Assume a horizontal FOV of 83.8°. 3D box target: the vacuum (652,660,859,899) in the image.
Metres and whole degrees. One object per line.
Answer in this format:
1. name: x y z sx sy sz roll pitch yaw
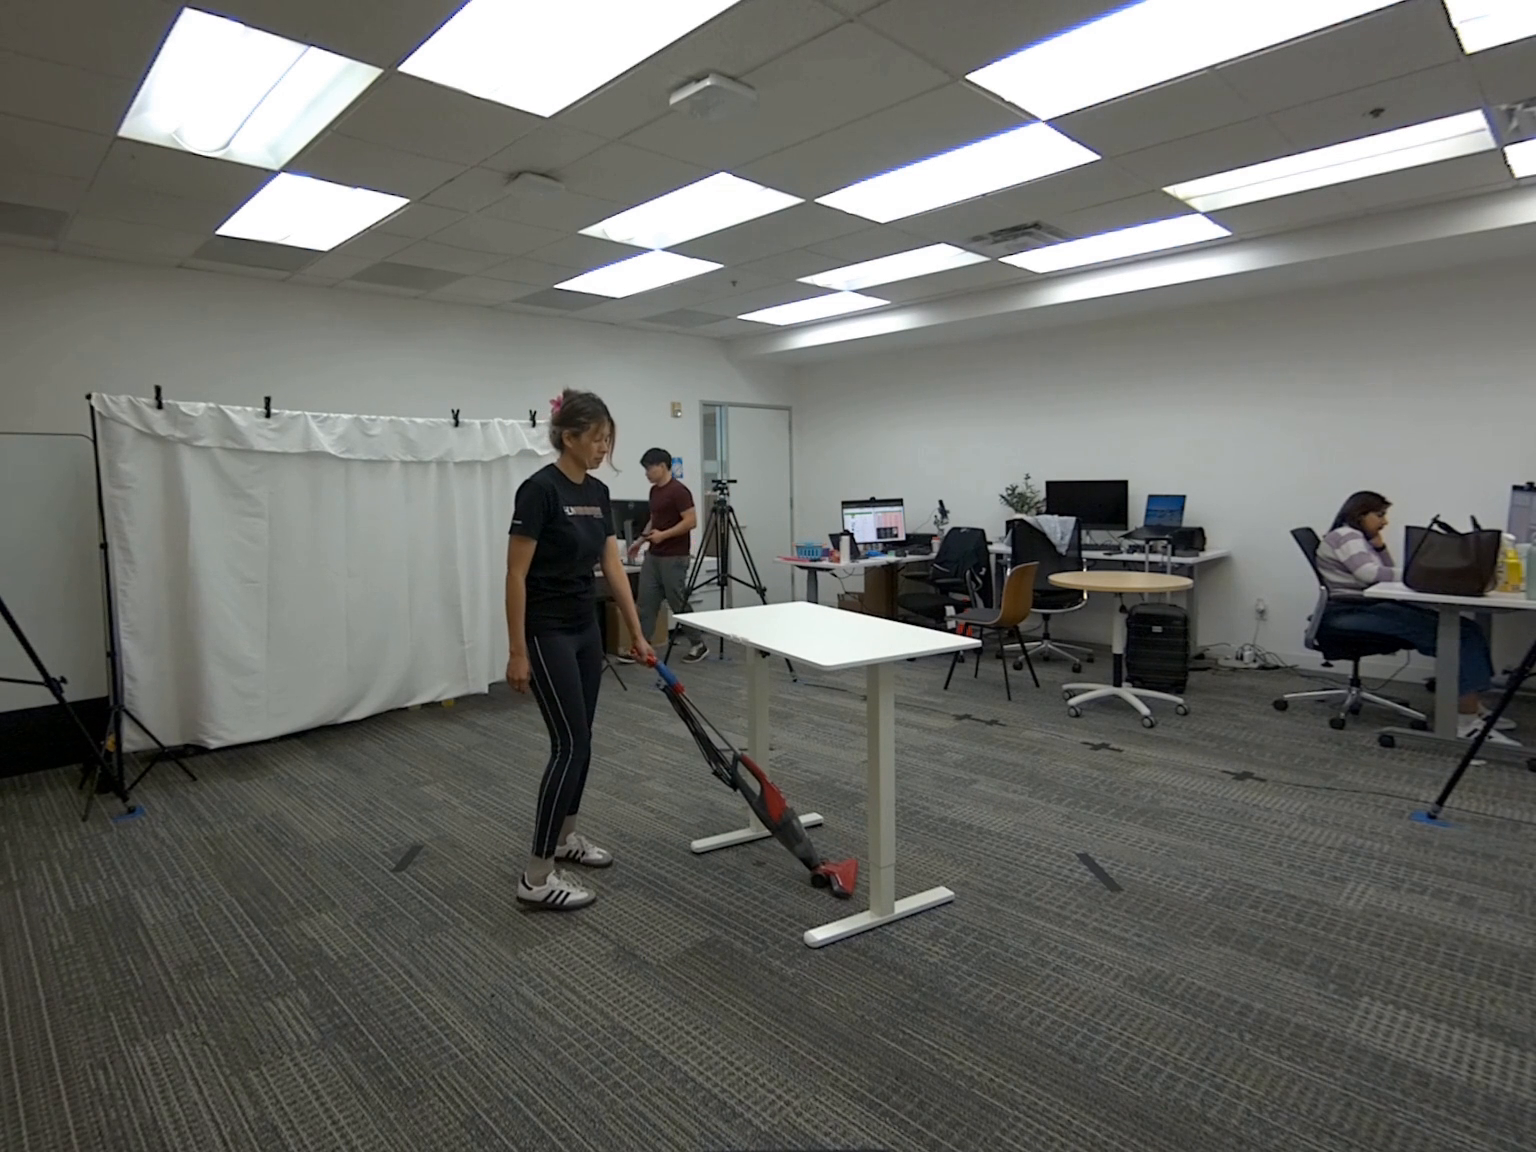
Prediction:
1. vacuum: -0.121 0.671 3.028 0.144 1.059 0.250 -45 -7 6
